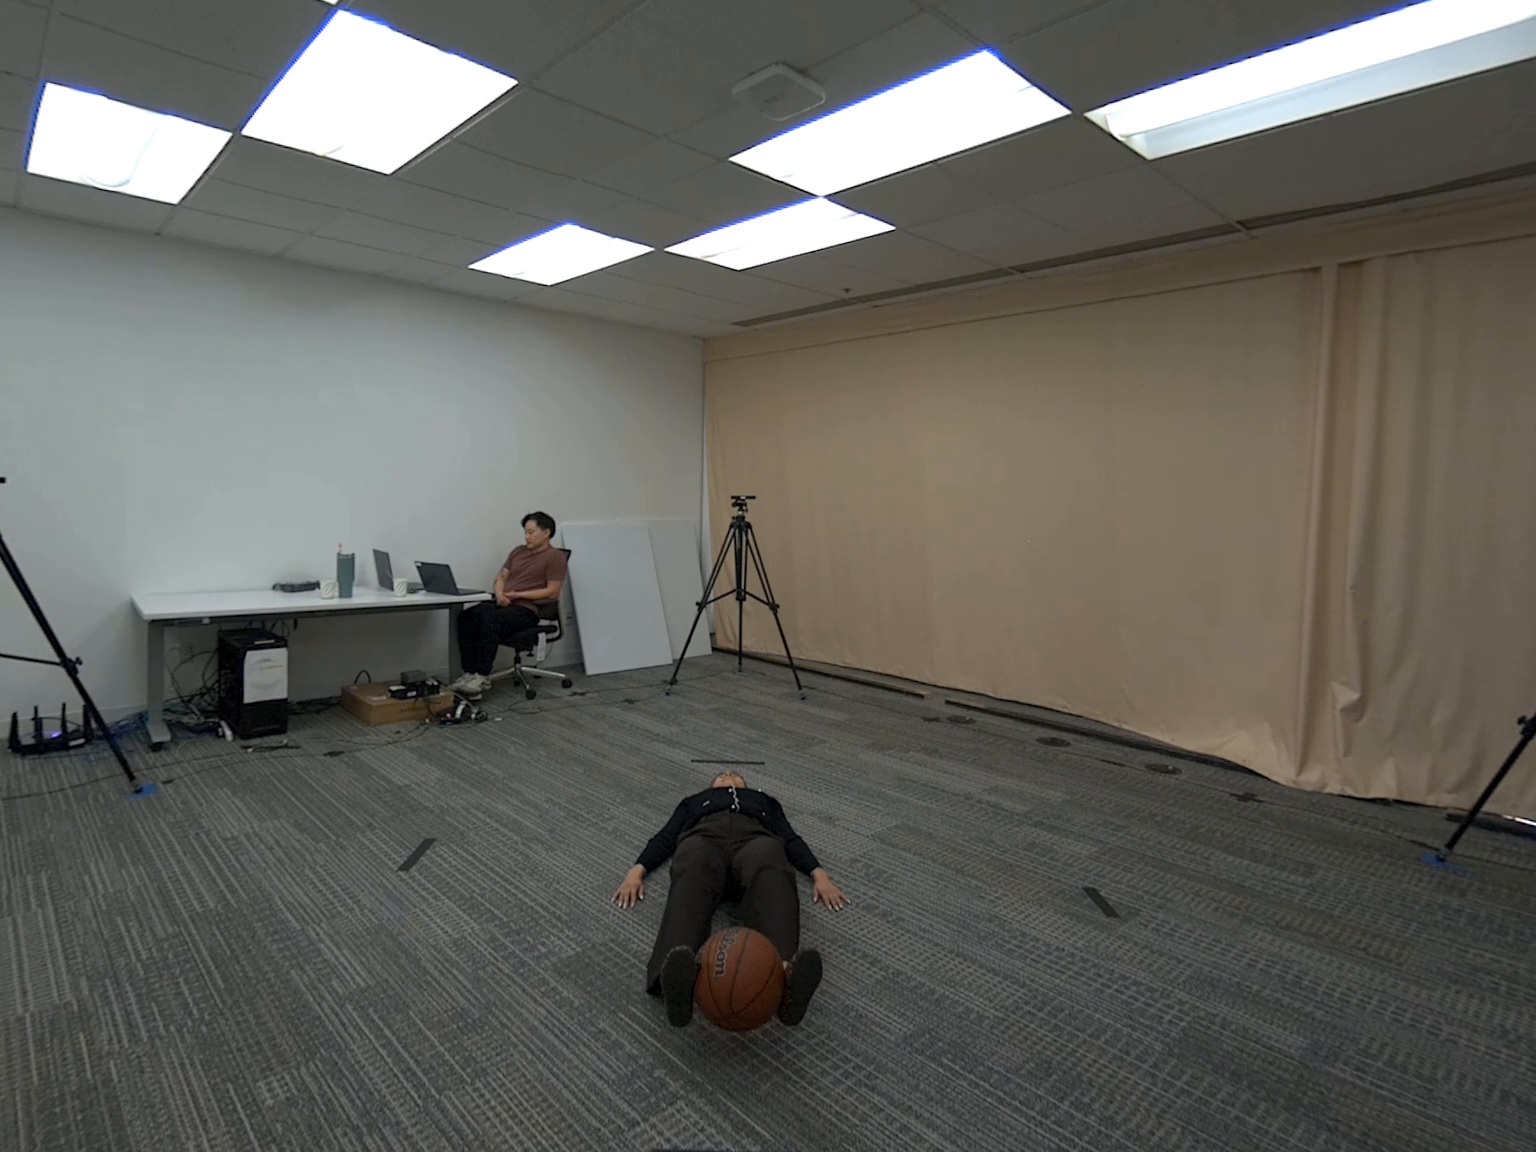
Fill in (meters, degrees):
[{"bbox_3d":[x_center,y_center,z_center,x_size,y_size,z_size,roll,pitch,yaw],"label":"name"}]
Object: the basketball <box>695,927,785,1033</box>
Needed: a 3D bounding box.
[{"bbox_3d":[-0.085,1.009,2.119,0.235,0.235,0.237,4,5,-2],"label":"basketball"}]
